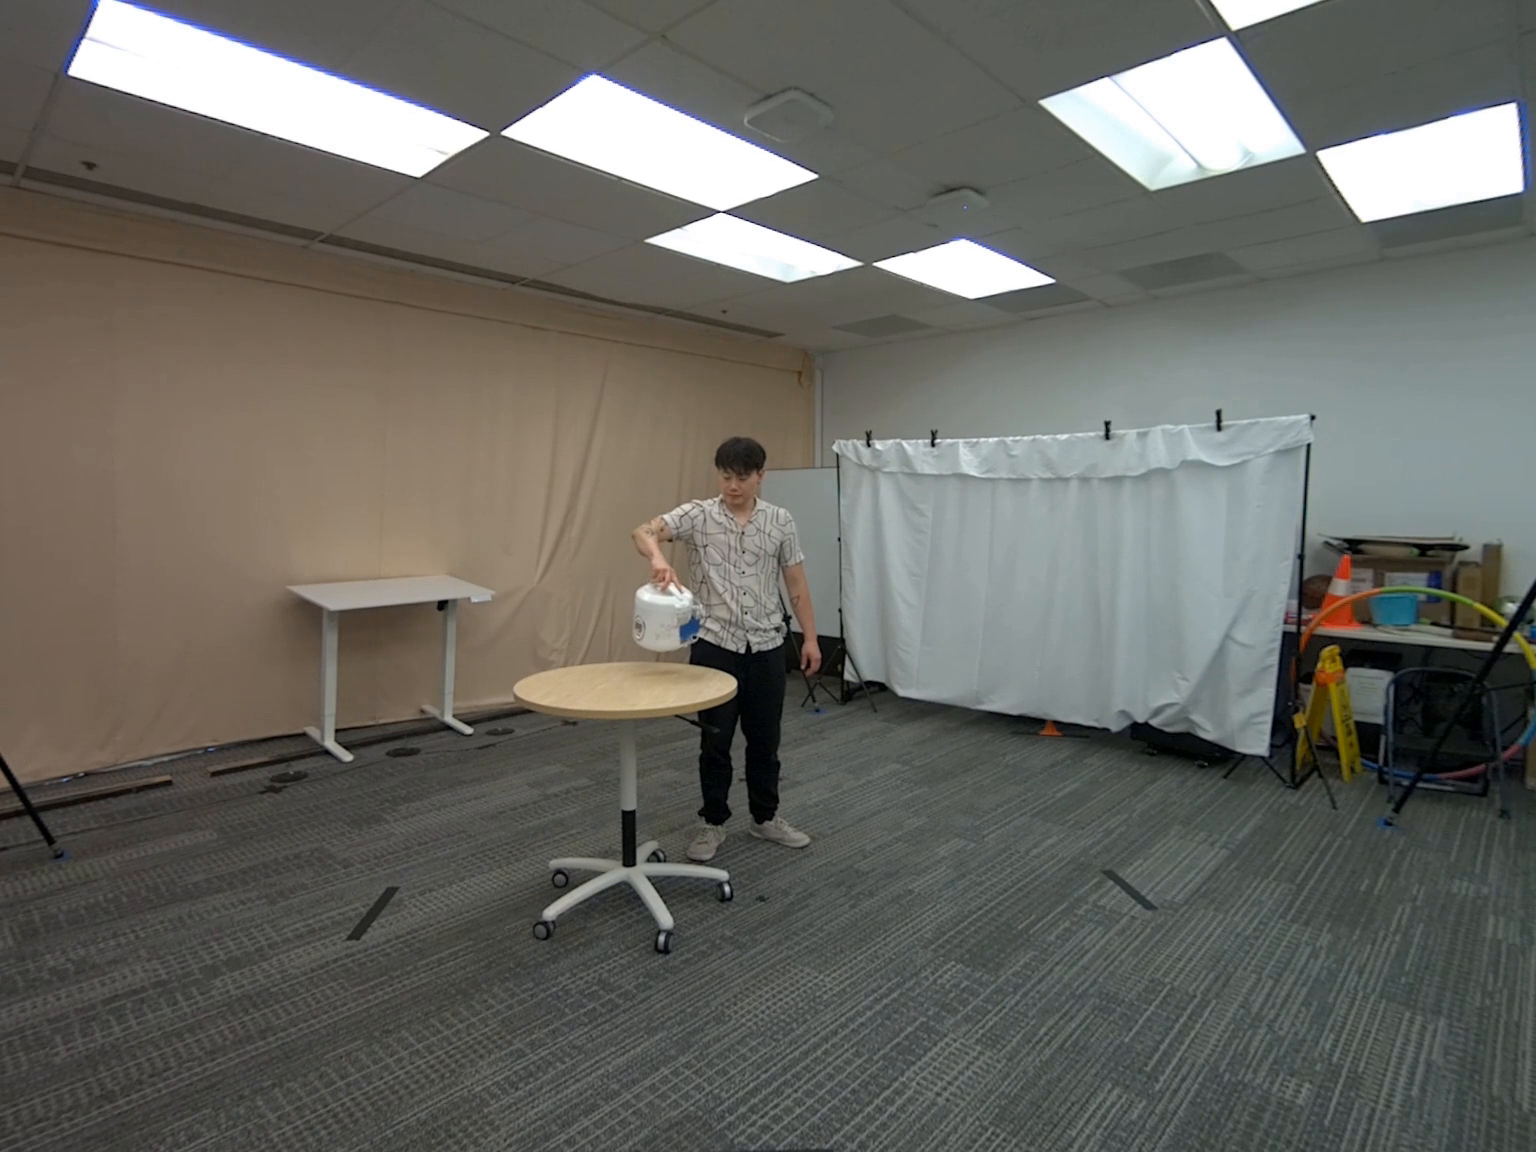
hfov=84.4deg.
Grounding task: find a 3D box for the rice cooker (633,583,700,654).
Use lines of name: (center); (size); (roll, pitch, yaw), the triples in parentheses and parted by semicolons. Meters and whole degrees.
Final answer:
rice cooker: (-0.370, 0.129, 3.022); (0.211, 0.231, 0.229); (-6, 19, -44)
